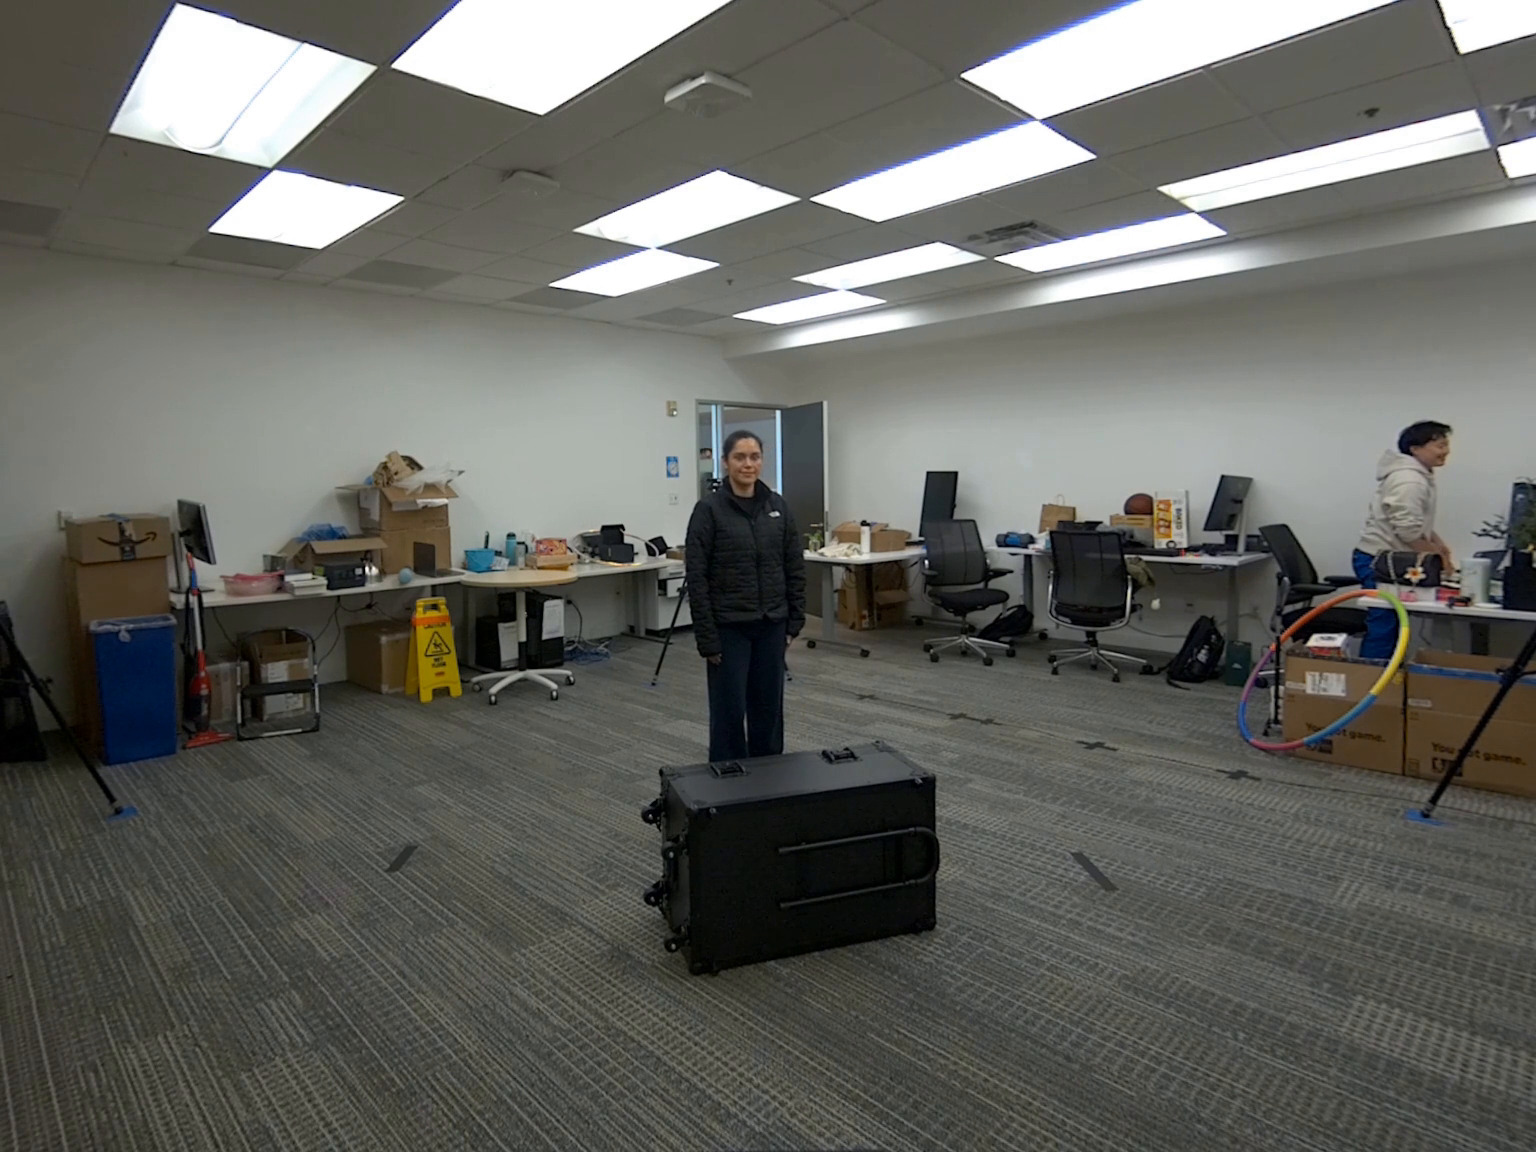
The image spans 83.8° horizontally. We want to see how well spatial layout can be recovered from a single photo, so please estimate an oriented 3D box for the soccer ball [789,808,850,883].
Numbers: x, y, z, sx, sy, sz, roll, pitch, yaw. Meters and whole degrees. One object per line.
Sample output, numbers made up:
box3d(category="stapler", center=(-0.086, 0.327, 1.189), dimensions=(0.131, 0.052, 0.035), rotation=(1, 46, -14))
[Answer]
box3d(category="soccer ball", center=(0.179, 0.954, 3.051), dimensions=(0.187, 0.187, 0.188), rotation=(-1, 5, -2))
